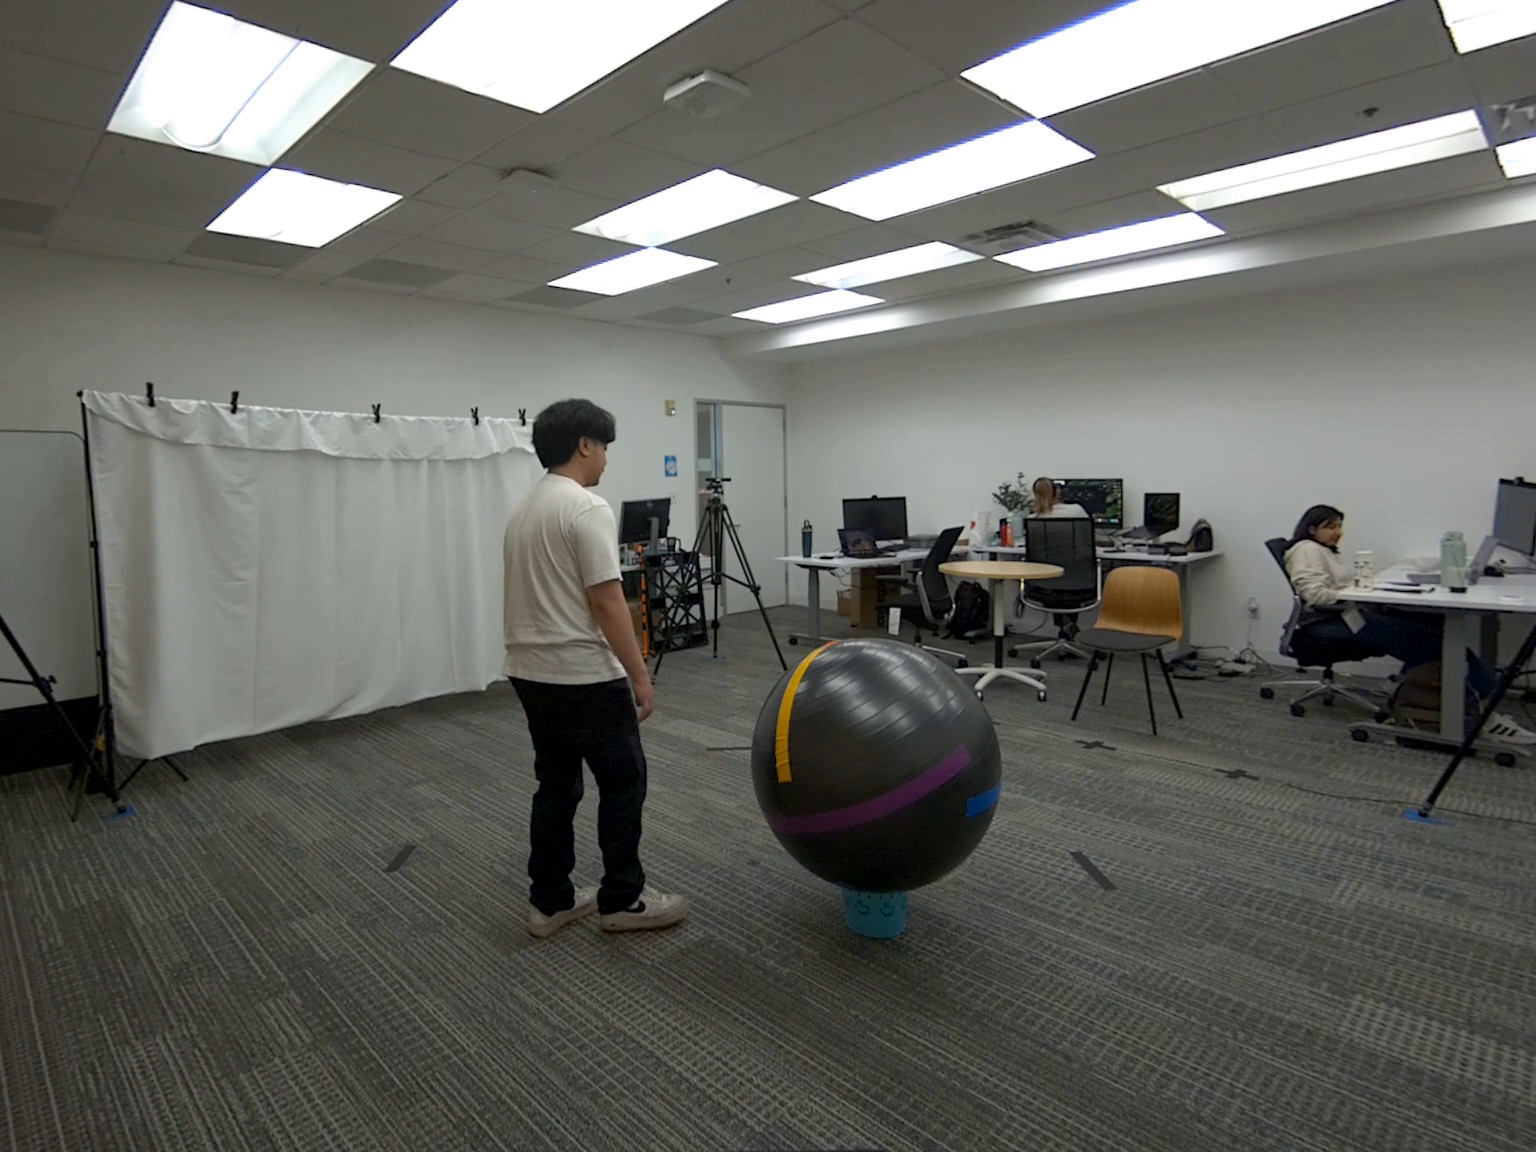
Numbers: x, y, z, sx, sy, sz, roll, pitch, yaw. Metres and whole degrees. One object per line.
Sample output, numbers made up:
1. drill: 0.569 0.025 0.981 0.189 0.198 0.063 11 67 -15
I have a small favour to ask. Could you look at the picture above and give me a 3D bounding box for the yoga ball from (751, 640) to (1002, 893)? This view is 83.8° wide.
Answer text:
1. yoga ball: 0.337 0.576 2.645 0.757 0.755 0.762 -1 5 -2
